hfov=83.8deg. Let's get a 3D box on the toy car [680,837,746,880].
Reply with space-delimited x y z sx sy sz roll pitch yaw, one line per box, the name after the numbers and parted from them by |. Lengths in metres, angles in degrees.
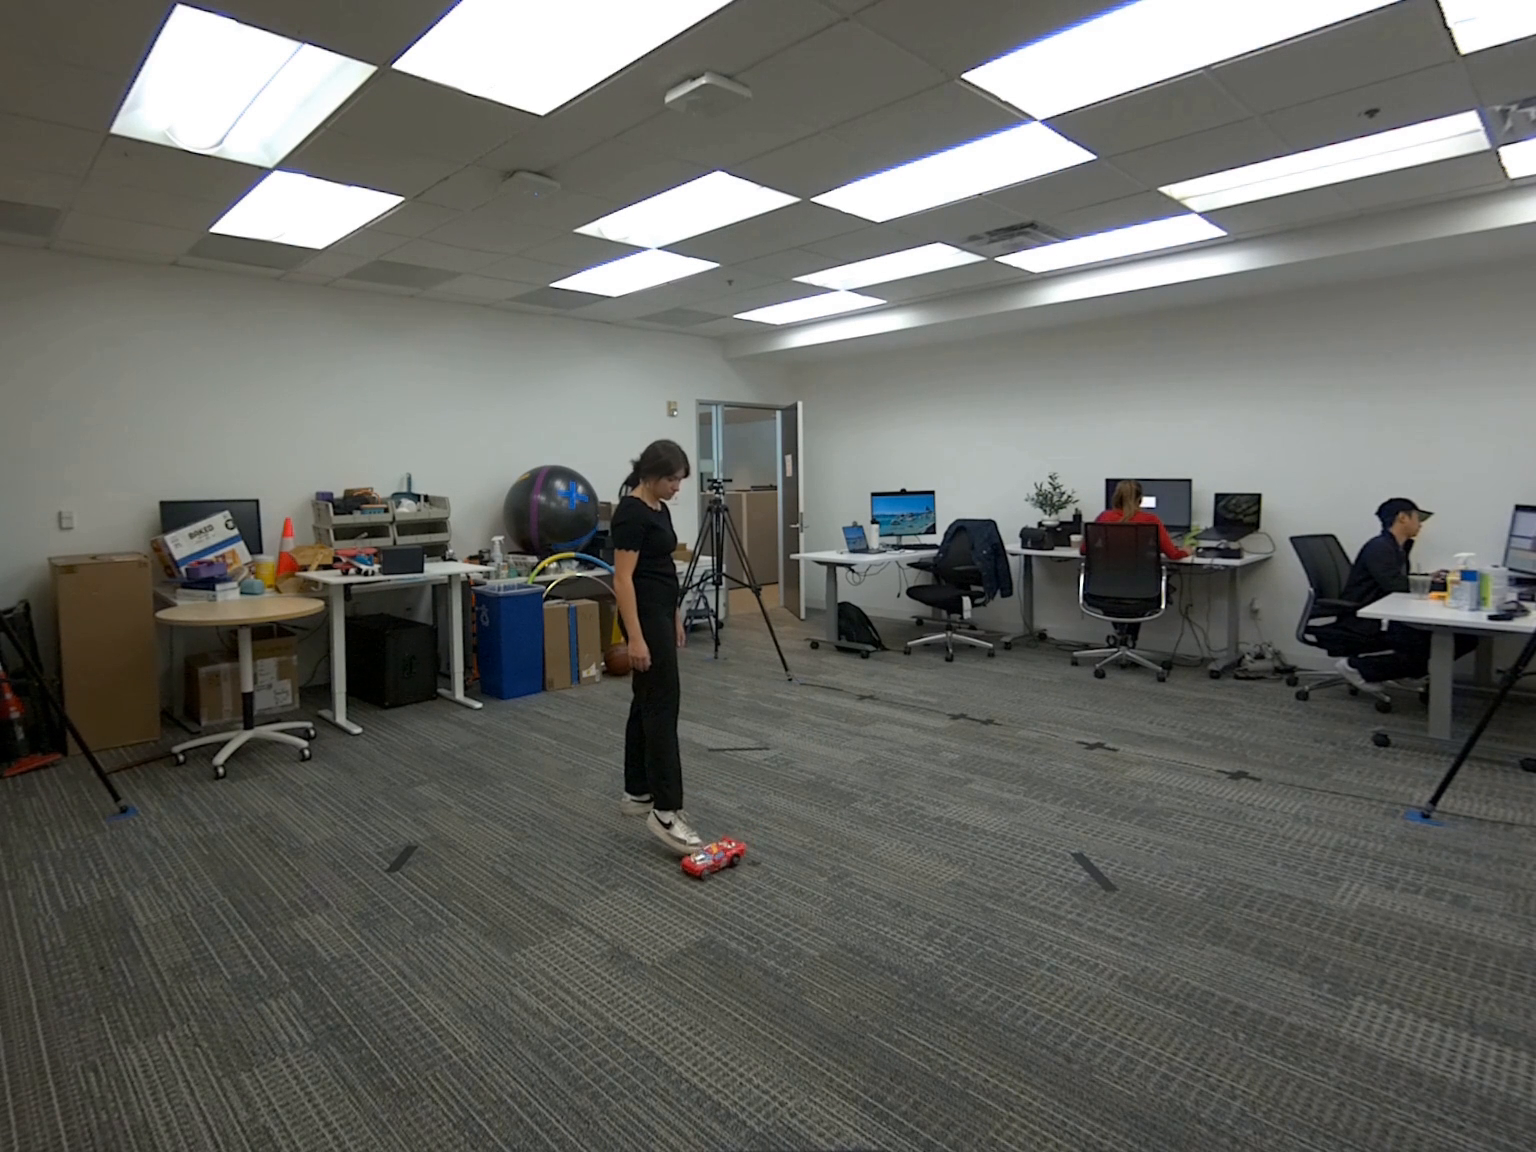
-0.181 1.016 3.082 0.250 0.082 0.134 -21 18 -40 | toy car
